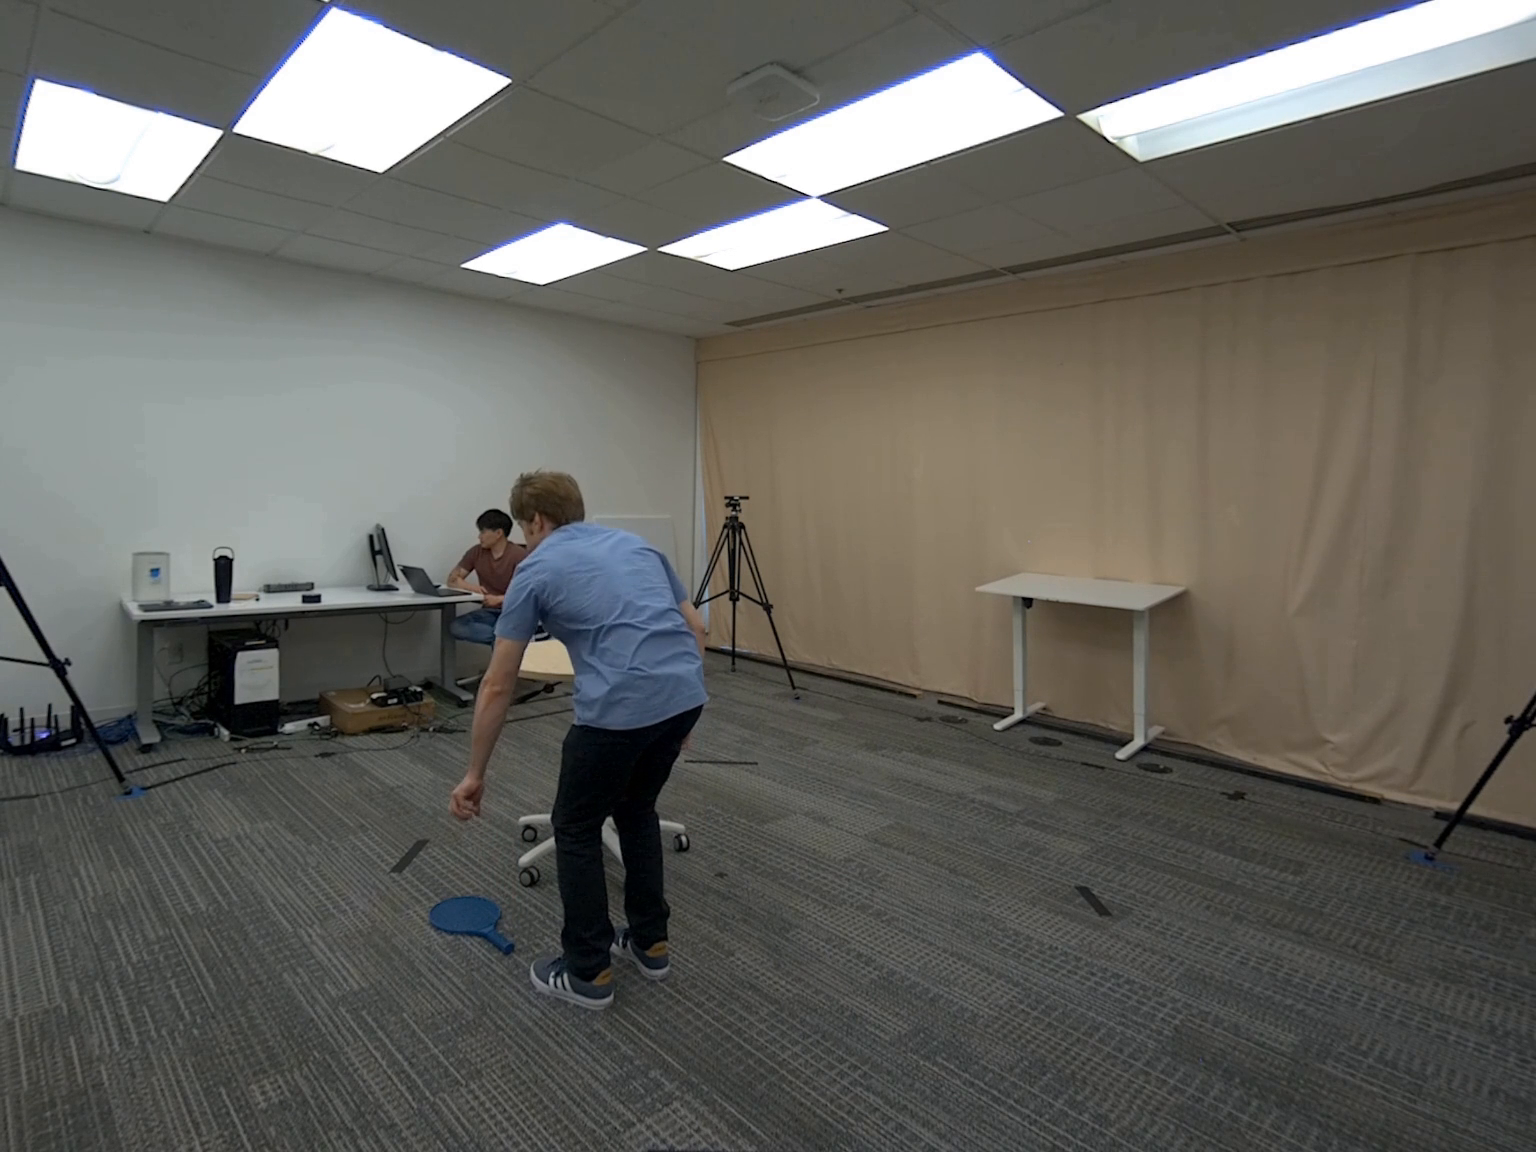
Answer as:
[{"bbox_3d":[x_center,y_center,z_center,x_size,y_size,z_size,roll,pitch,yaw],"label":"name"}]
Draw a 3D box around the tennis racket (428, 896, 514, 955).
[{"bbox_3d":[-0.941,1.115,2.691,0.444,0.032,0.209,5,6,44],"label":"tennis racket"}]
